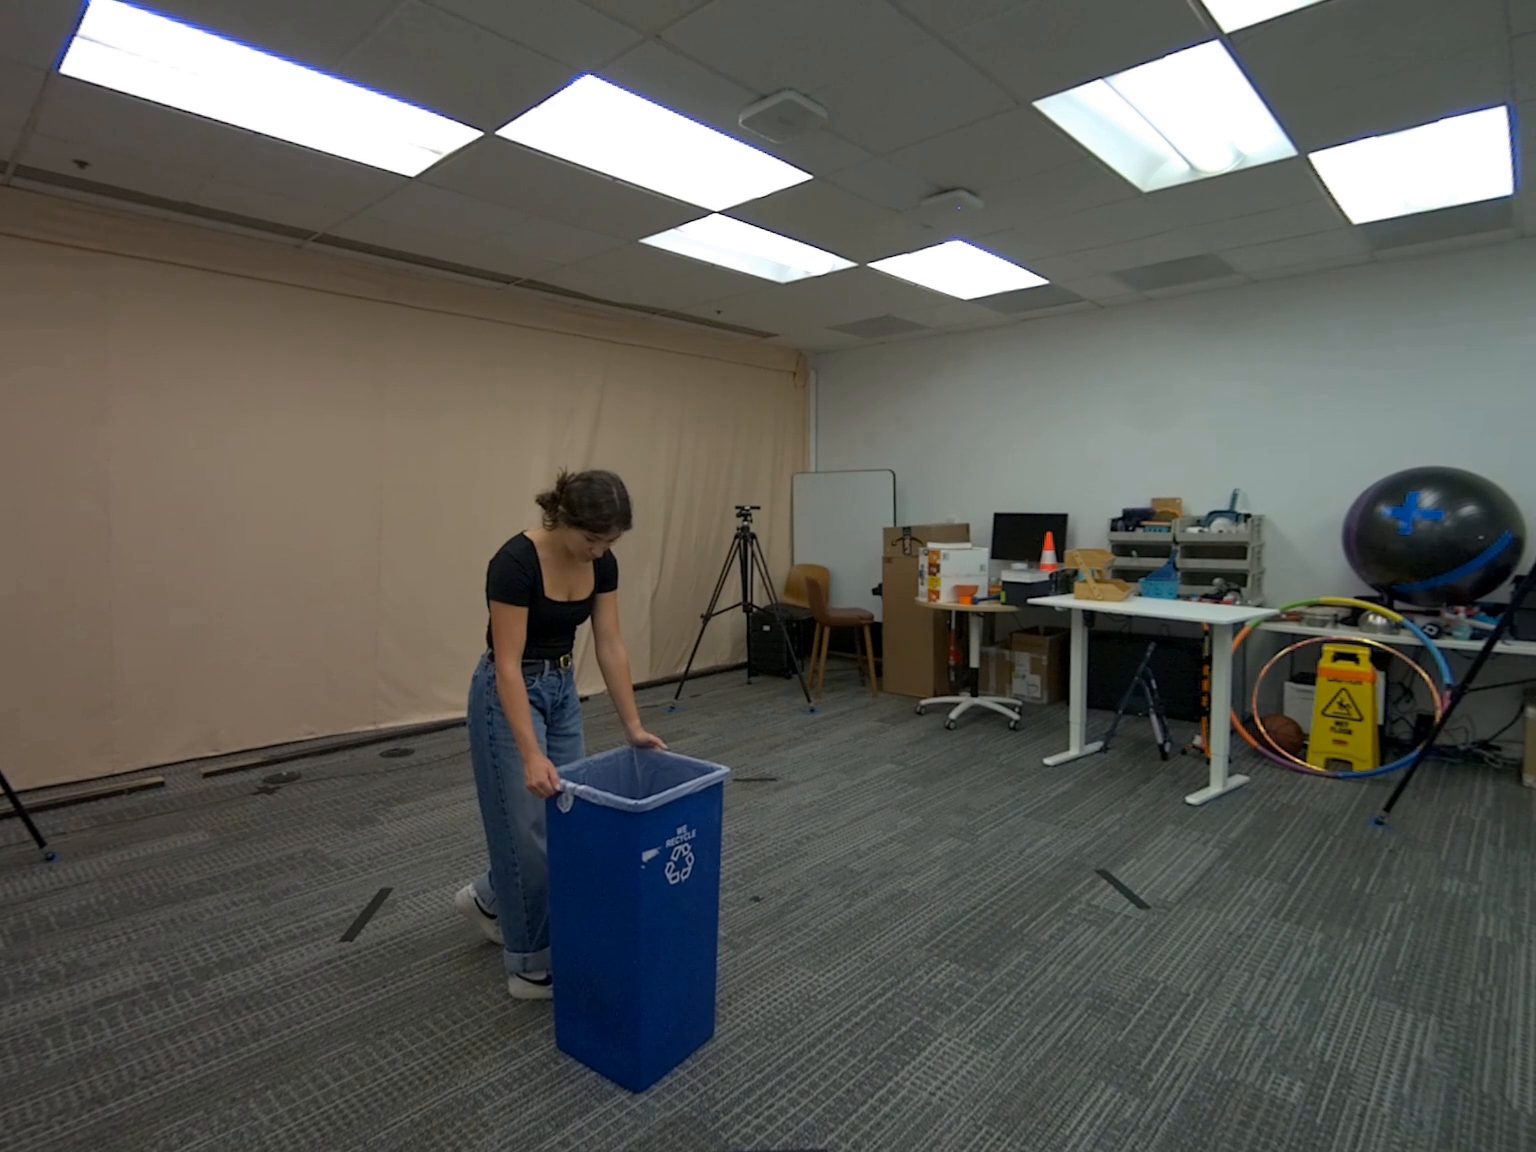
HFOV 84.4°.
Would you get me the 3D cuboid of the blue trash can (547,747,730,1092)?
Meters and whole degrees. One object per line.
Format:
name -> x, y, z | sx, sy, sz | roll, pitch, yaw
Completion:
blue trash can -> -0.340, 0.857, 2.178 | 0.390, 0.712, 0.363 | 3, 5, 37
